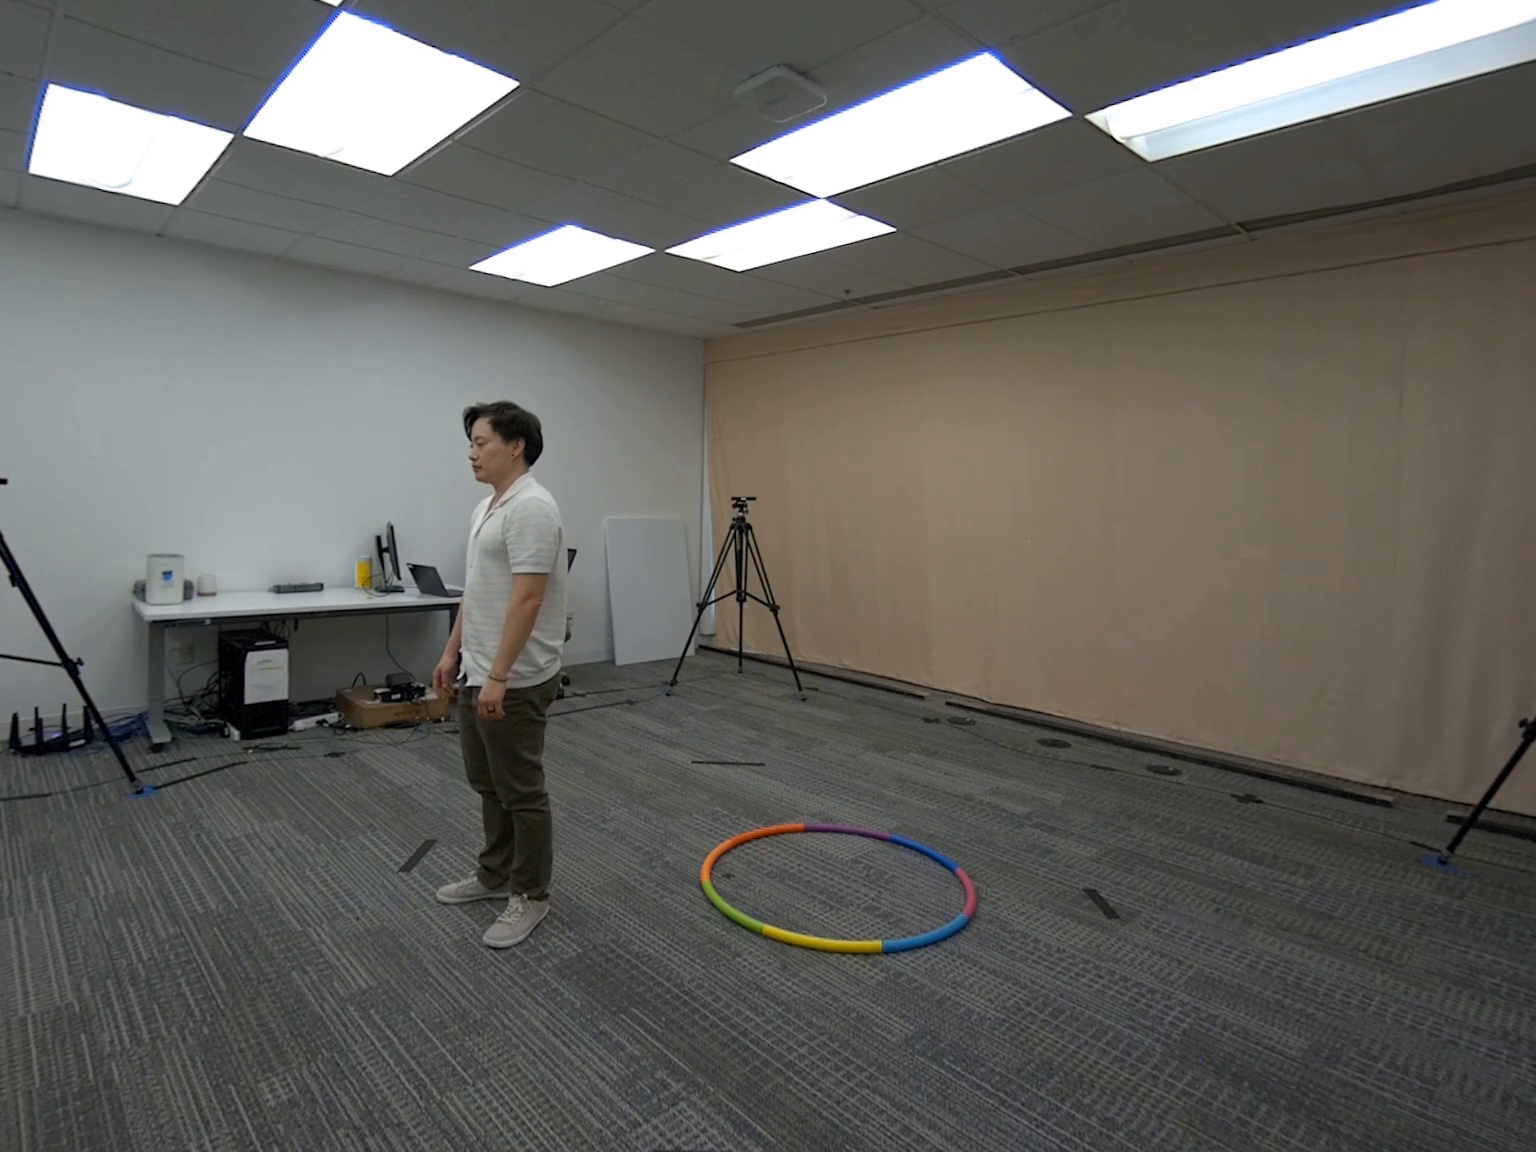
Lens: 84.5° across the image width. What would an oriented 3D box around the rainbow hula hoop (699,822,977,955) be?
[{"bbox_3d":[0.240,1.090,3.071,0.978,0.035,0.982,1,5,-1],"label":"rainbow hula hoop"}]
